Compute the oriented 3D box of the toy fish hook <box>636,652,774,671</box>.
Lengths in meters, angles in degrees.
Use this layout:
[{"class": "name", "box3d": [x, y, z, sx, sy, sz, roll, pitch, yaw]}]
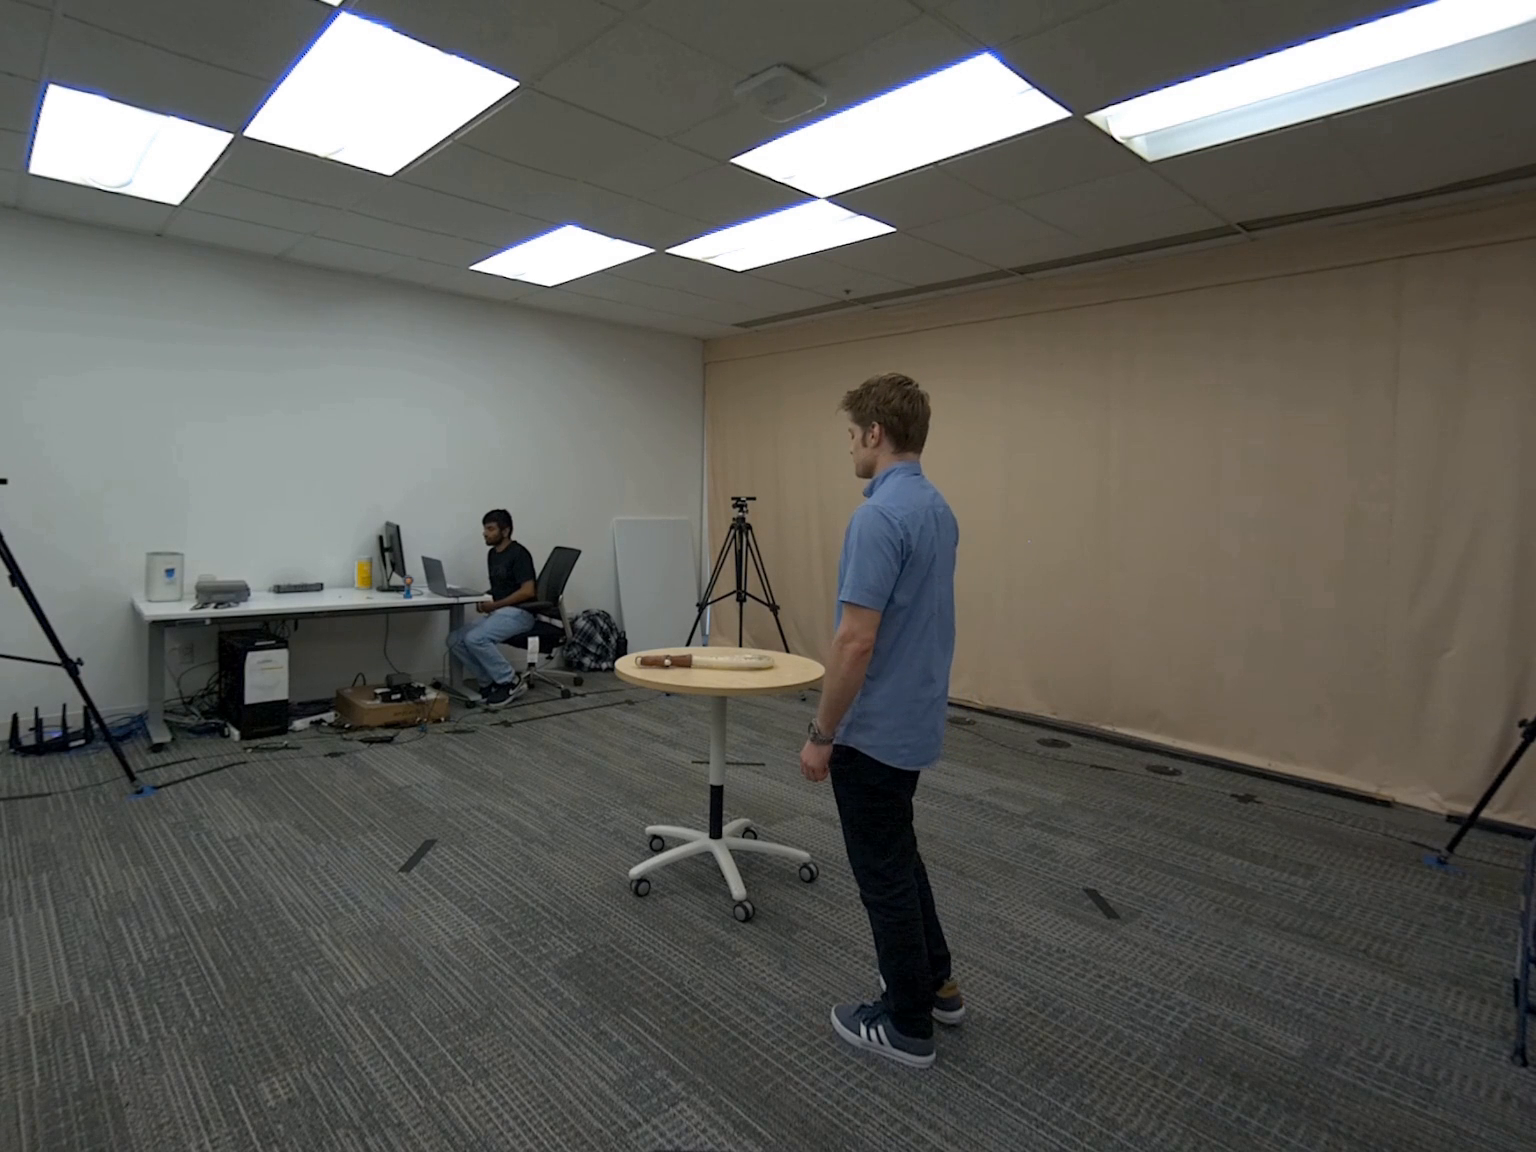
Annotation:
[{"class": "toy fish hook", "box3d": [-0.230, 0.313, 3.060, 0.503, 0.048, 0.225, 2, -2, -8]}]
